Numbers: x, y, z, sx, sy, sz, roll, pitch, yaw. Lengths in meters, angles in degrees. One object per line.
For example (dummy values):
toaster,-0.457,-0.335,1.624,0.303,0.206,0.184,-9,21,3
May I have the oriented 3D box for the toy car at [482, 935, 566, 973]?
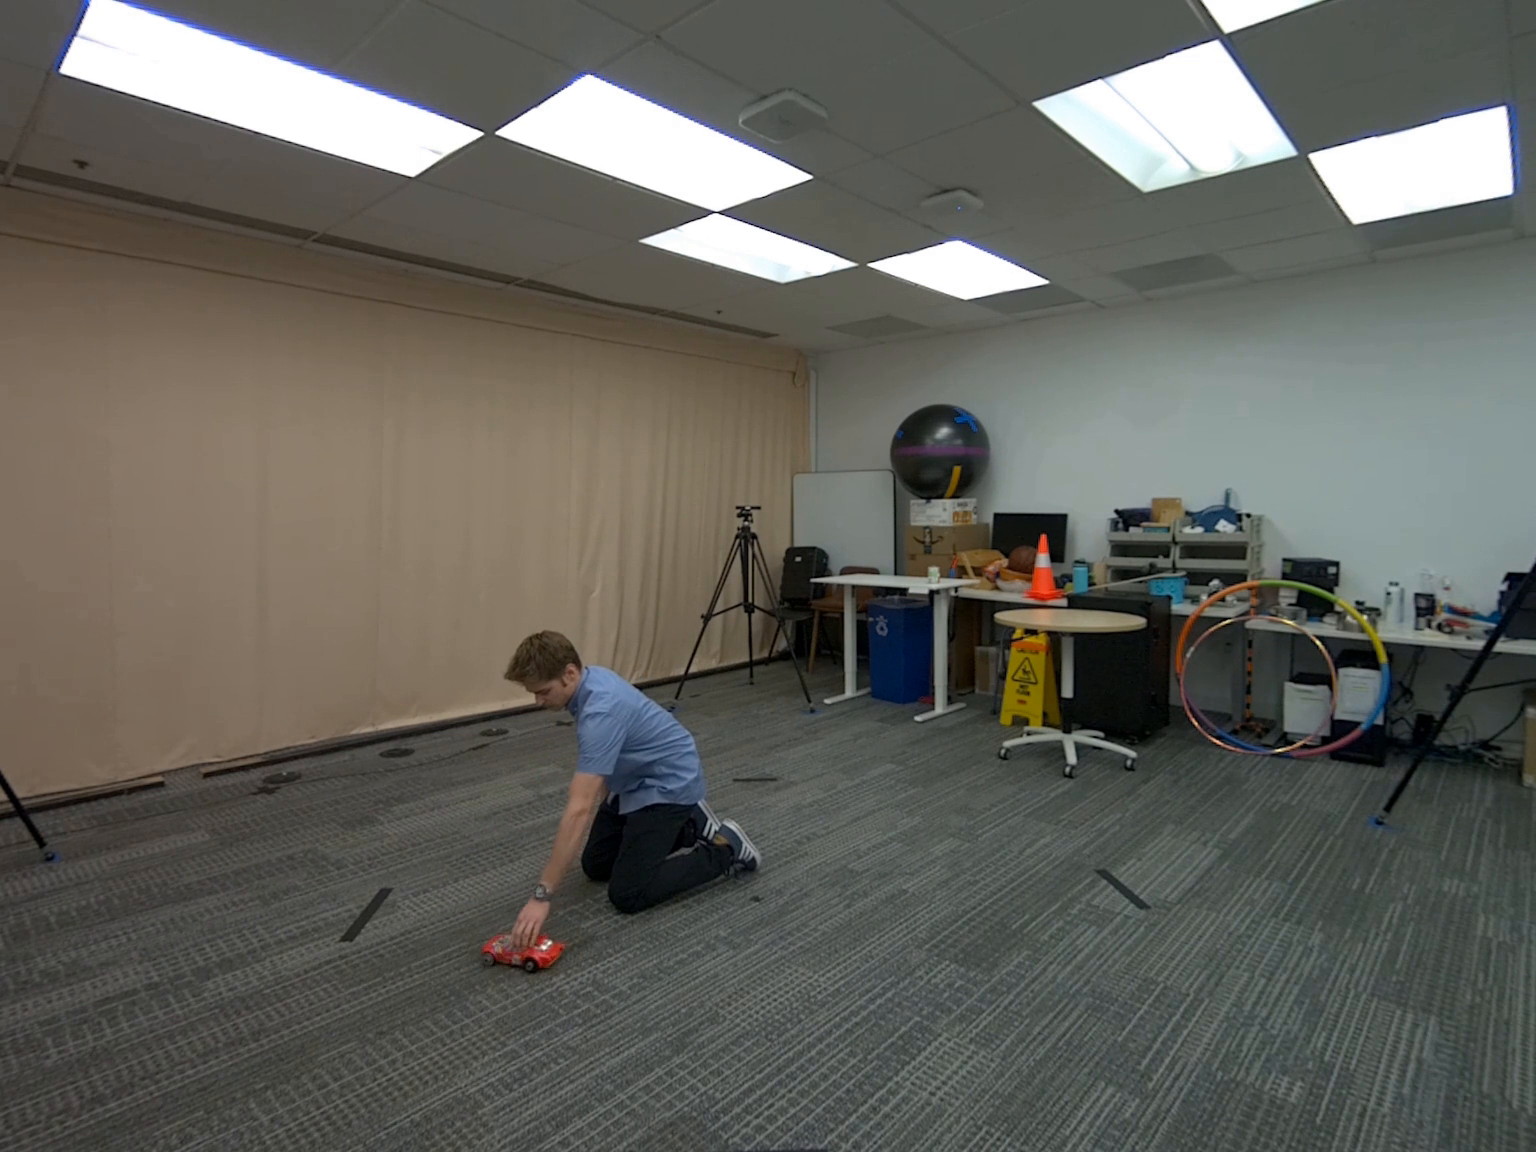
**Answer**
toy car,-0.754,1.151,2.584,0.258,0.083,0.128,-9,2,16
